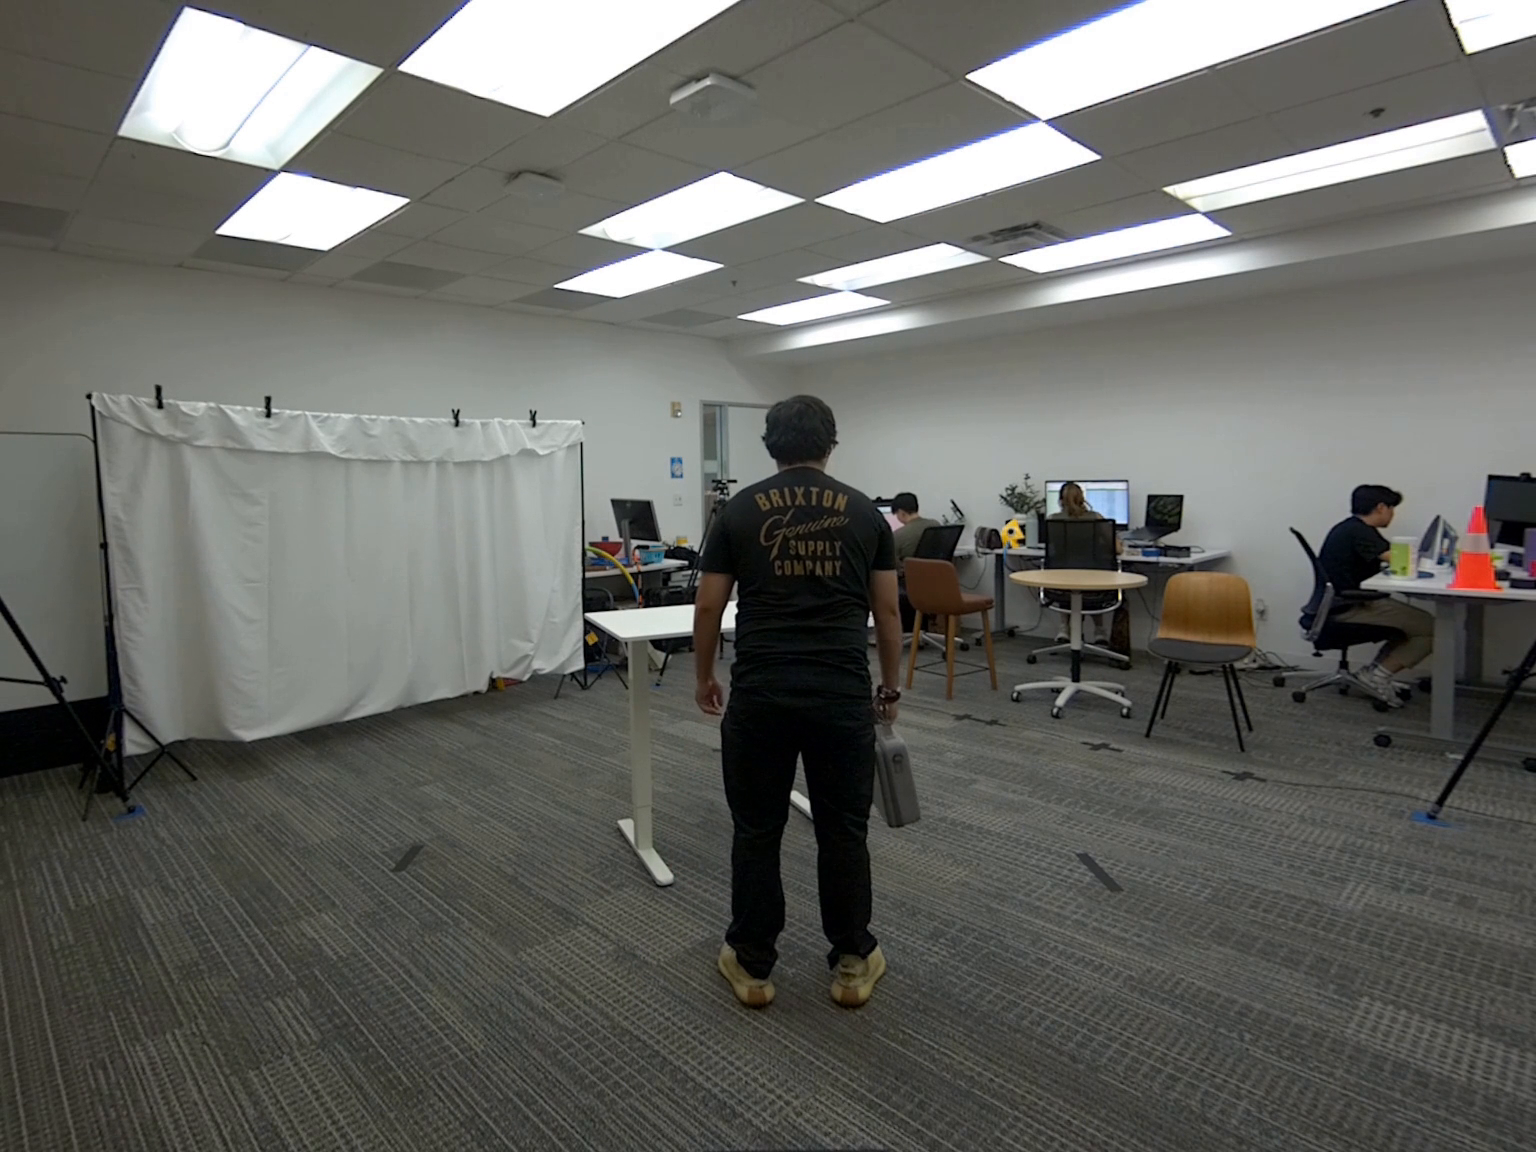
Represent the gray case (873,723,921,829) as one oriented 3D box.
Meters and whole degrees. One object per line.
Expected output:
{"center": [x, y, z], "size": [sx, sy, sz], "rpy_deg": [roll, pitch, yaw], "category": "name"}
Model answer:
{"center": [0.354, 0.576, 2.529], "size": [0.104, 0.259, 0.259], "rpy_deg": [-9, 7, 0], "category": "gray case"}
